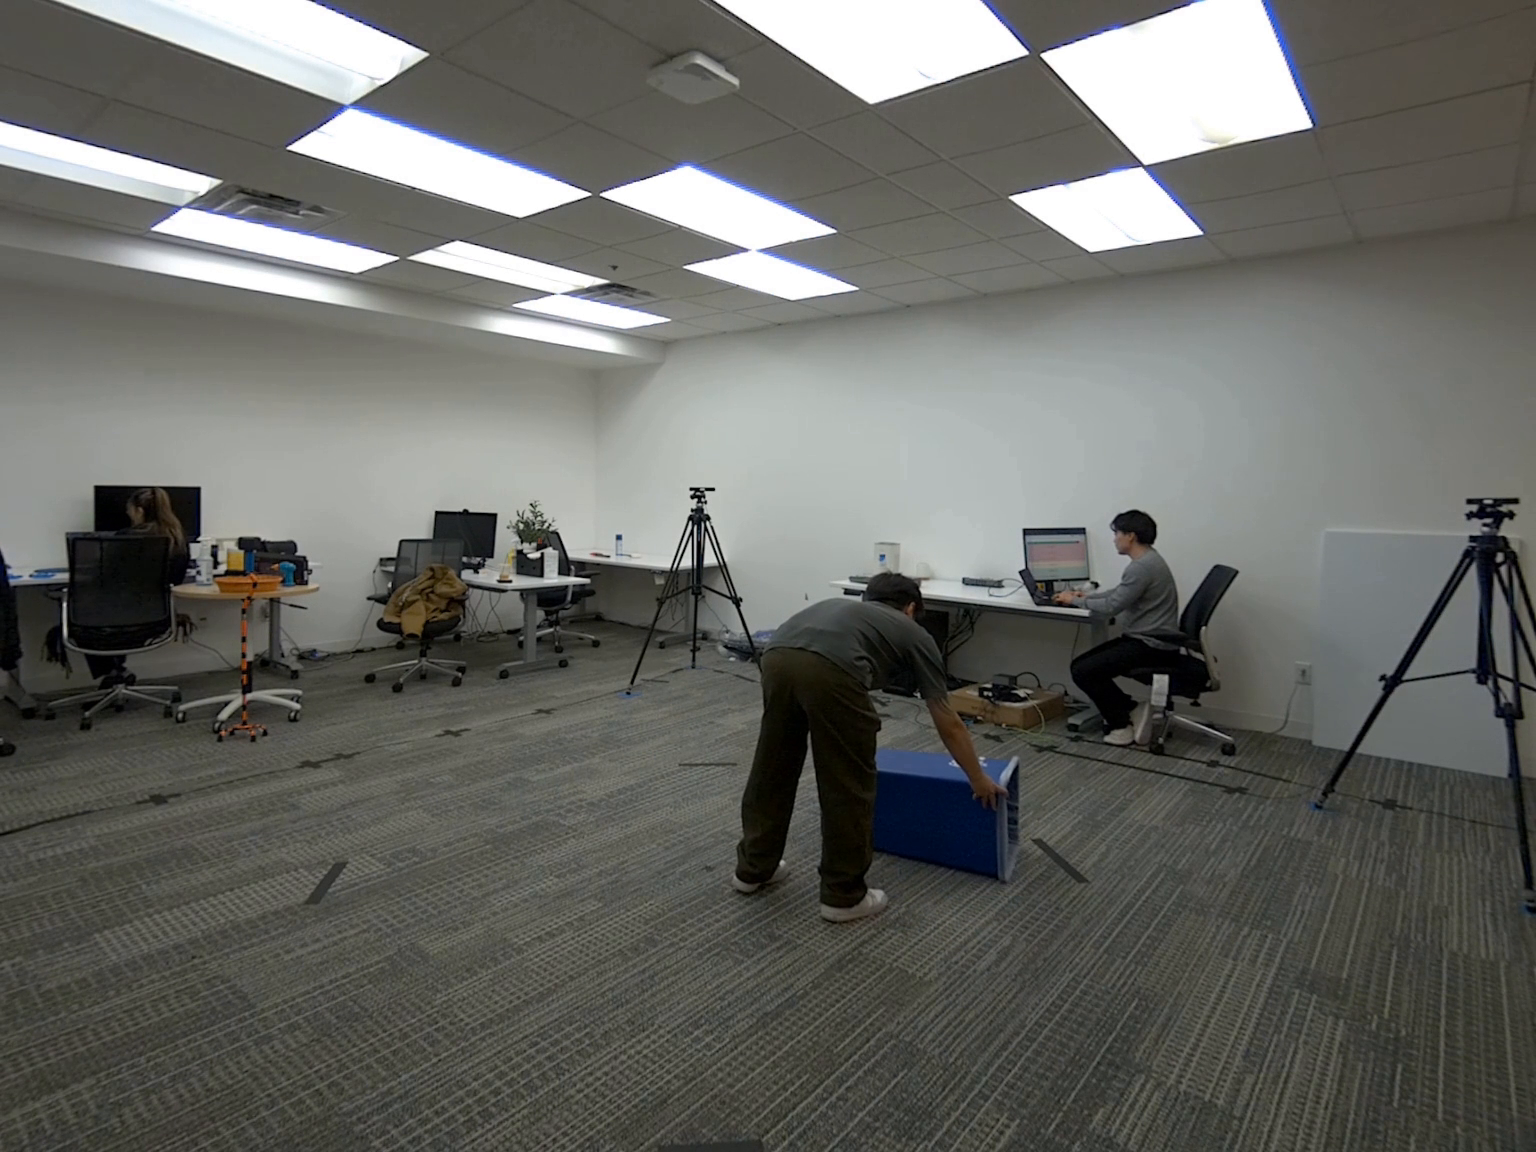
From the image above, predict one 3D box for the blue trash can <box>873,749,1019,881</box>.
[{"bbox_3d":[0.589,0.884,3.348,0.732,0.373,0.369,2,5,26],"label":"blue trash can"}]
